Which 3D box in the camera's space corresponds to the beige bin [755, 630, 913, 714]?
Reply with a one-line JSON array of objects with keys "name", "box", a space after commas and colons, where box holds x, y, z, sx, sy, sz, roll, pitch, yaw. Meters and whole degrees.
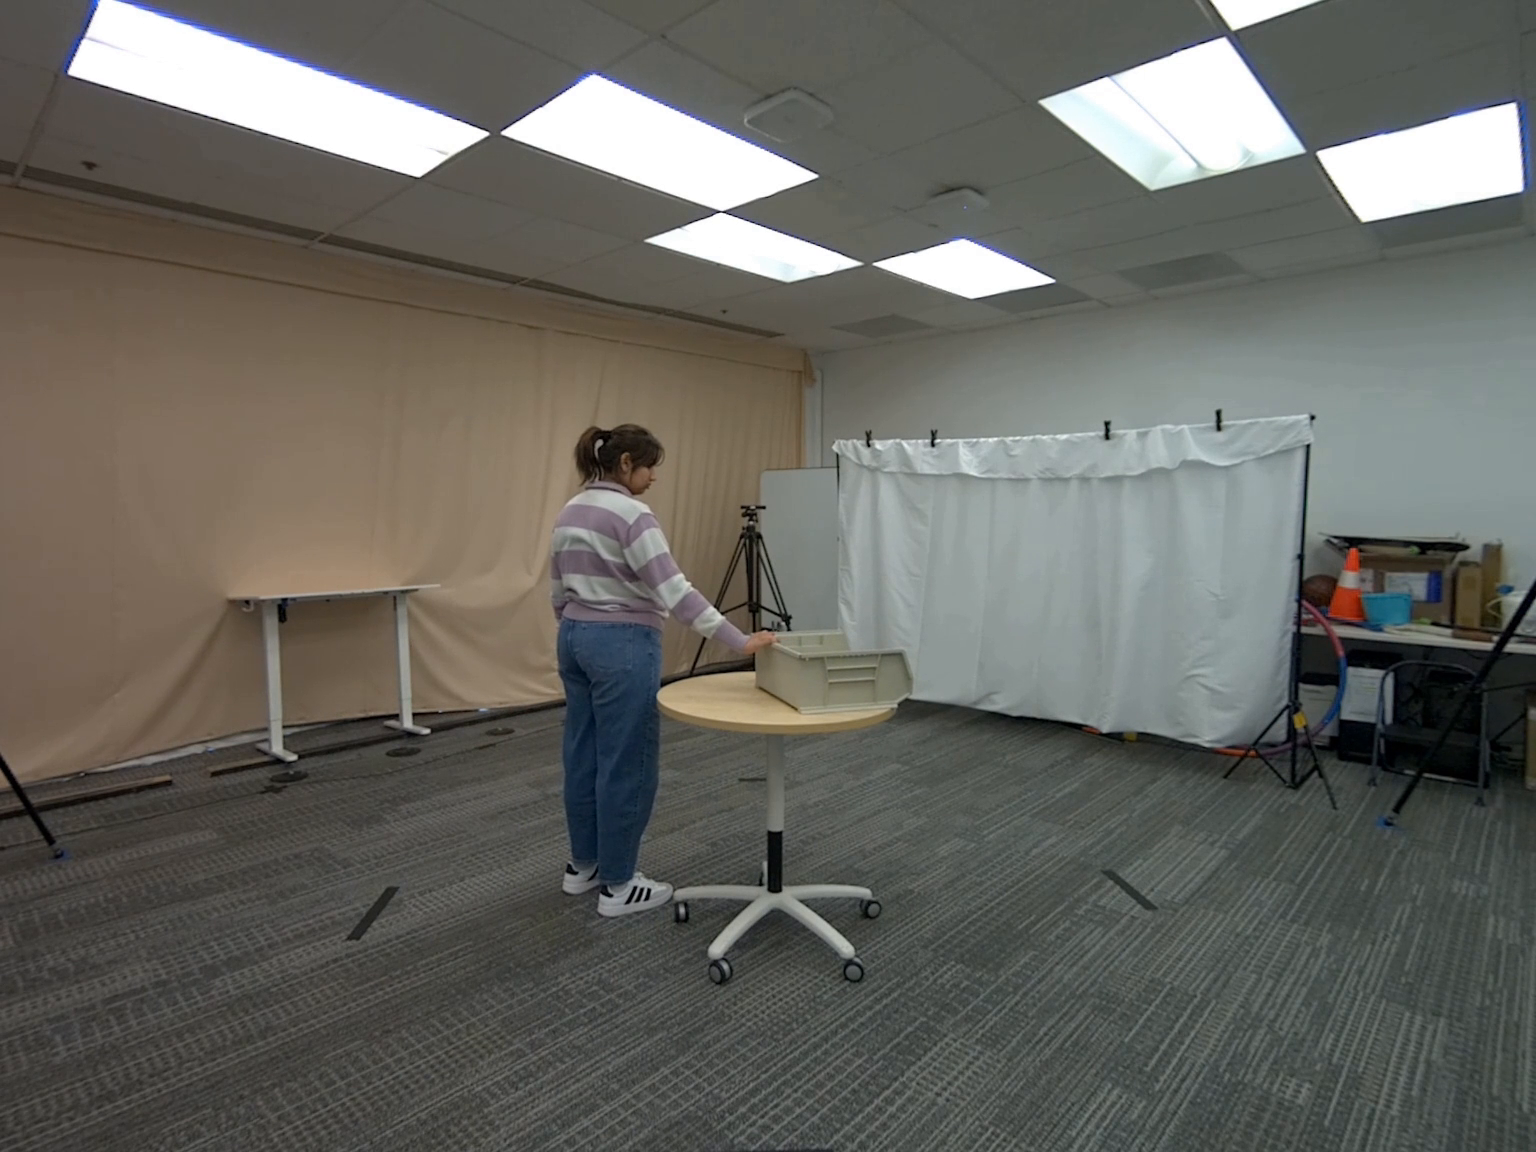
[{"name": "beige bin", "box": [0.188, 0.298, 2.689, 0.370, 0.188, 0.432, -2, 5, -21]}]
